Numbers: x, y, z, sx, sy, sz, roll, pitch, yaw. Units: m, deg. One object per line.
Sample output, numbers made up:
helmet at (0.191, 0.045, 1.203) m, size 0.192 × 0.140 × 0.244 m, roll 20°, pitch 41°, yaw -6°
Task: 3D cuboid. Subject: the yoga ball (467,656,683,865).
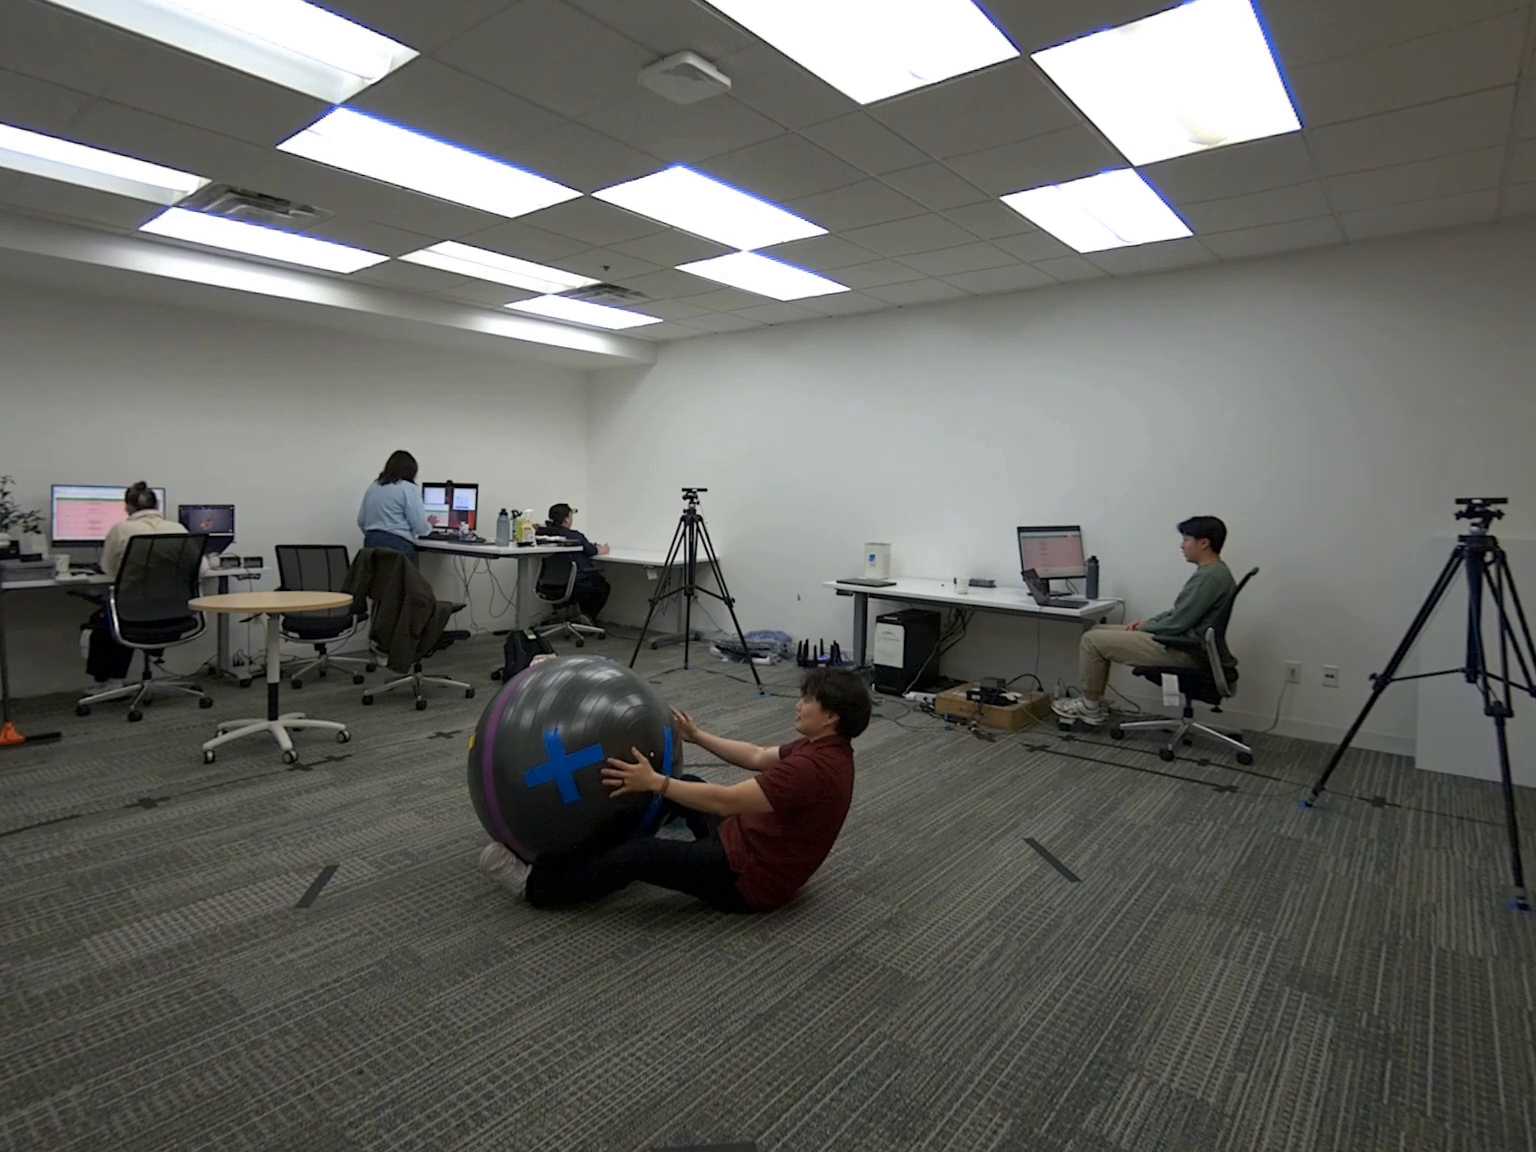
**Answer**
yoga ball at (-0.706, 0.666, 3.052) m, size 0.757 × 0.755 × 0.762 m, roll 1°, pitch 4°, yaw -2°
